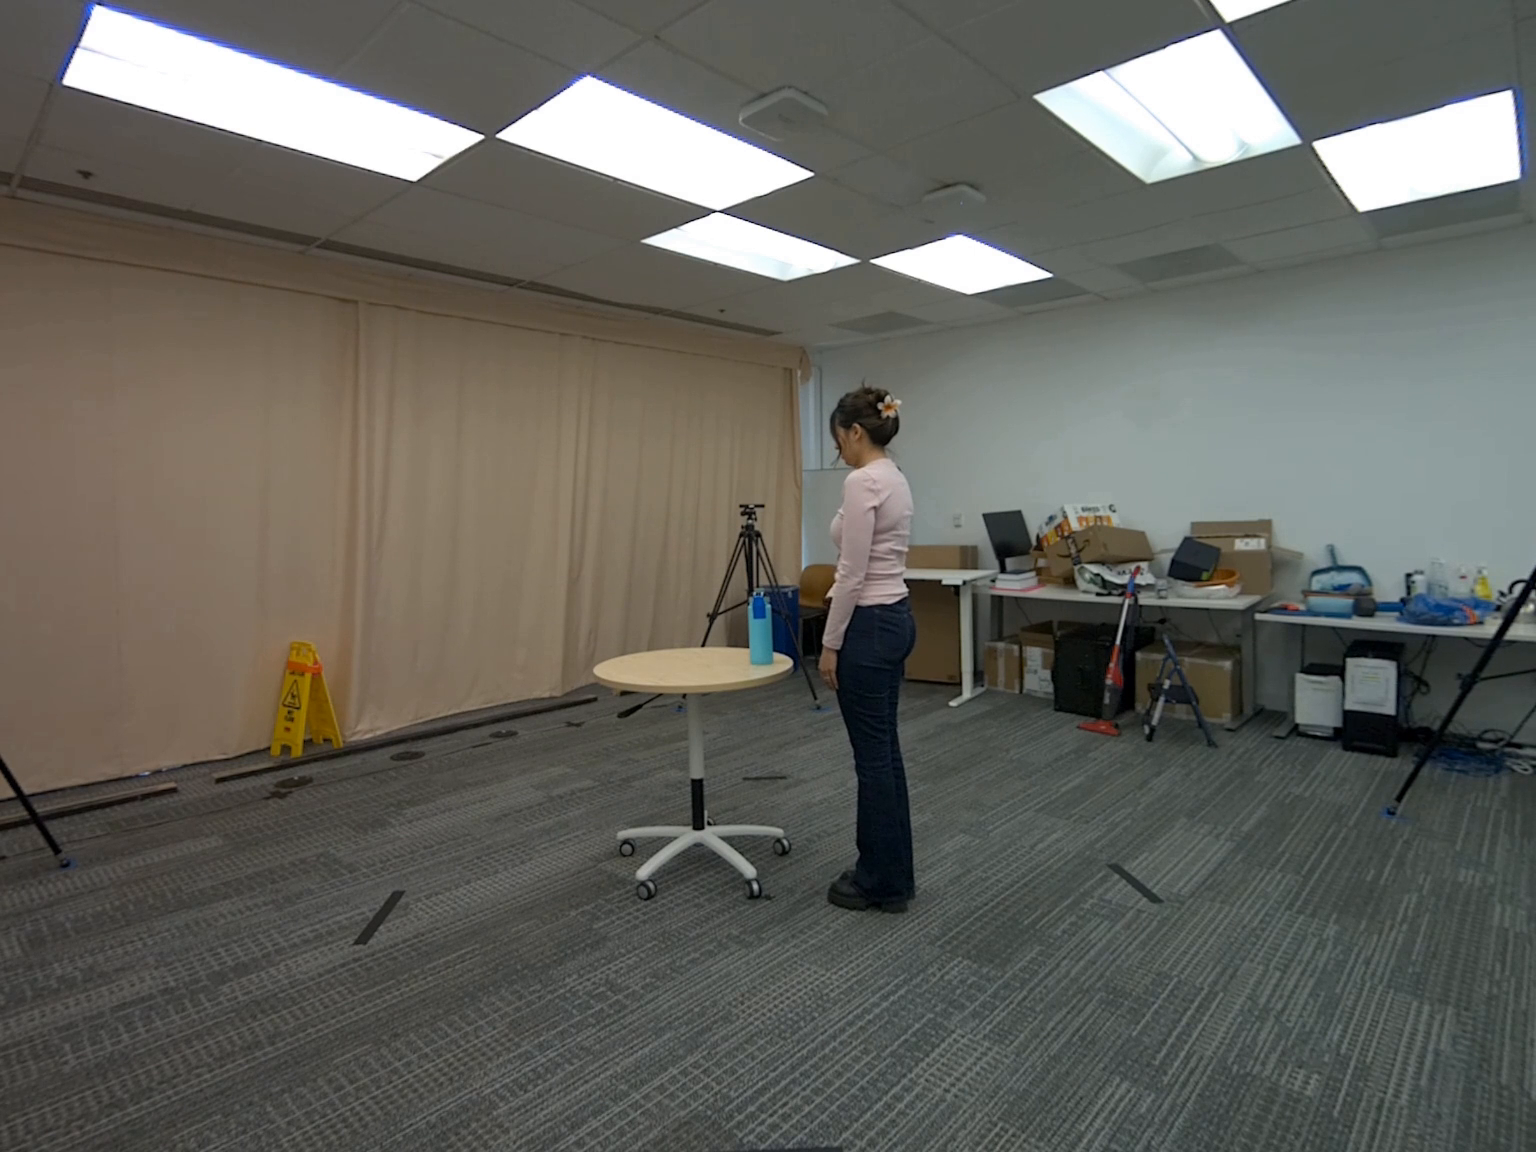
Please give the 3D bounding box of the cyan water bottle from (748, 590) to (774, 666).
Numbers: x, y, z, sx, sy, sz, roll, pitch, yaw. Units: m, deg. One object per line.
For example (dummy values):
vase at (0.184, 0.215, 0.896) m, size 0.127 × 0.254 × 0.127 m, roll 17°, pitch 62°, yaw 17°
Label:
cyan water bottle at (-0.027, 0.195, 3.217) m, size 0.092 × 0.283 × 0.092 m, roll -1°, pitch 1°, yaw -2°
